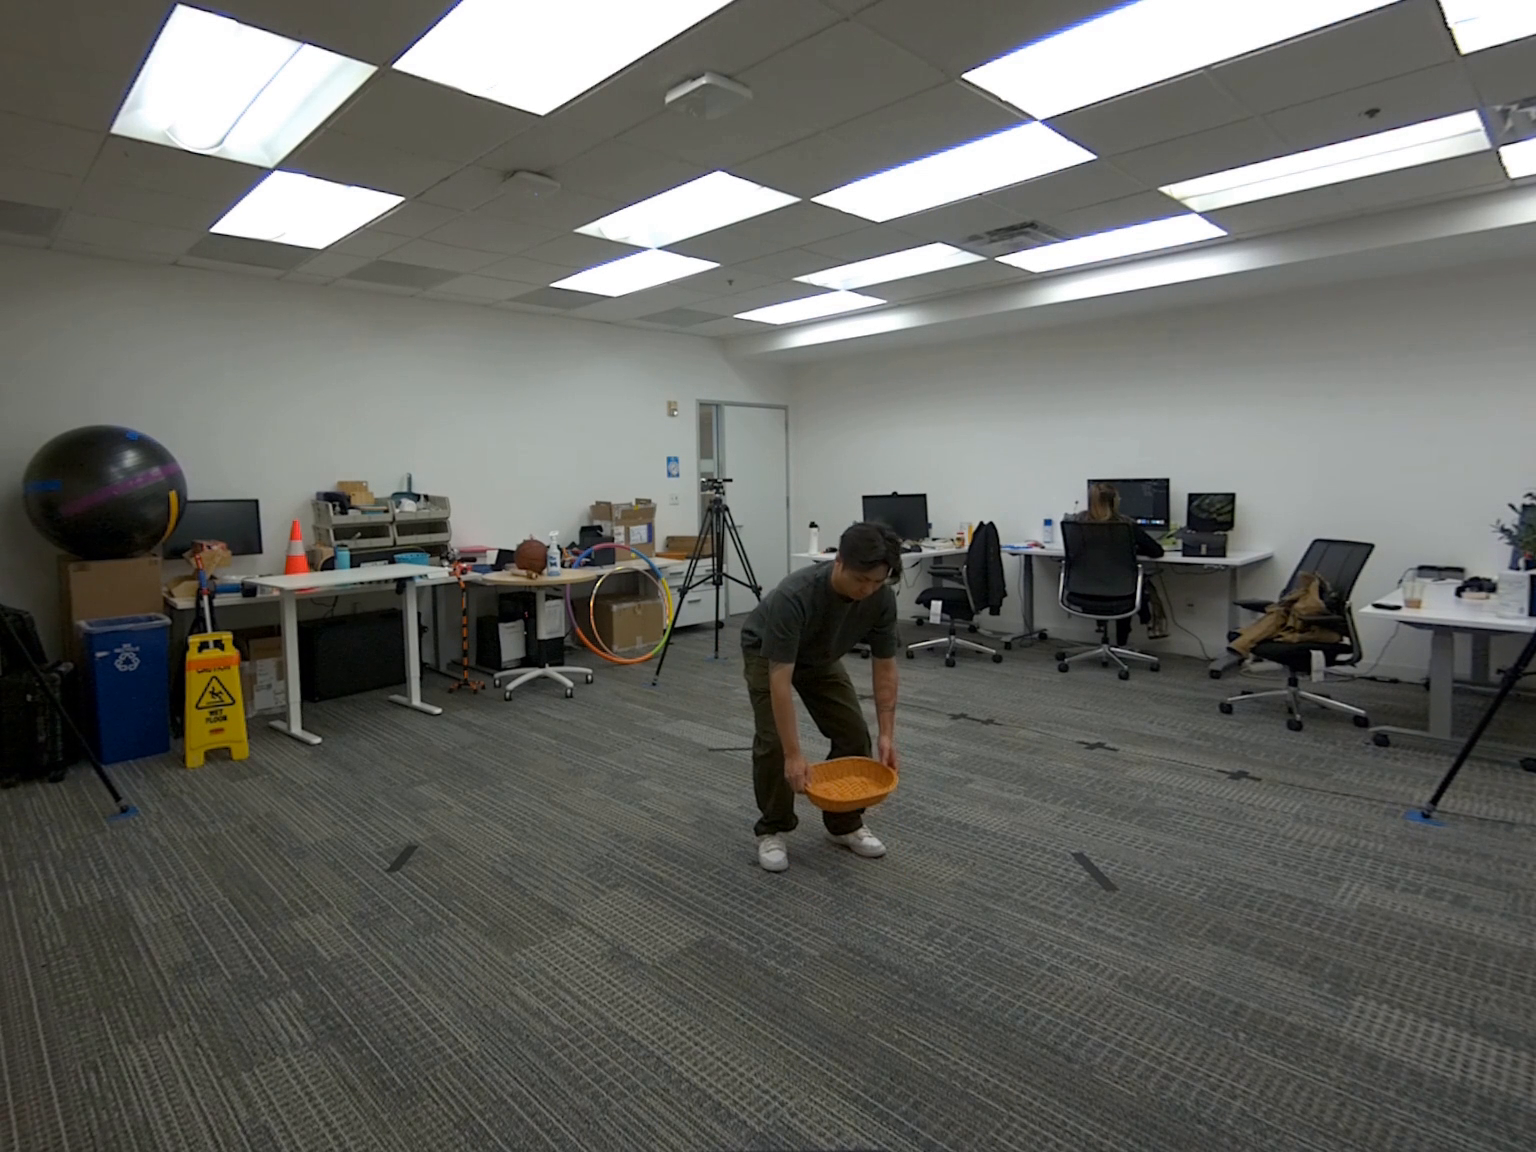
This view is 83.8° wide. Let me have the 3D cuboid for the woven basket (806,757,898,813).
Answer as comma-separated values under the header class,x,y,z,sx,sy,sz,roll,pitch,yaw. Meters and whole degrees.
class,x,y,z,sx,sy,sz,roll,pitch,yaw
woven basket,0.271,0.714,2.898,0.343,0.072,0.261,-6,18,-26
